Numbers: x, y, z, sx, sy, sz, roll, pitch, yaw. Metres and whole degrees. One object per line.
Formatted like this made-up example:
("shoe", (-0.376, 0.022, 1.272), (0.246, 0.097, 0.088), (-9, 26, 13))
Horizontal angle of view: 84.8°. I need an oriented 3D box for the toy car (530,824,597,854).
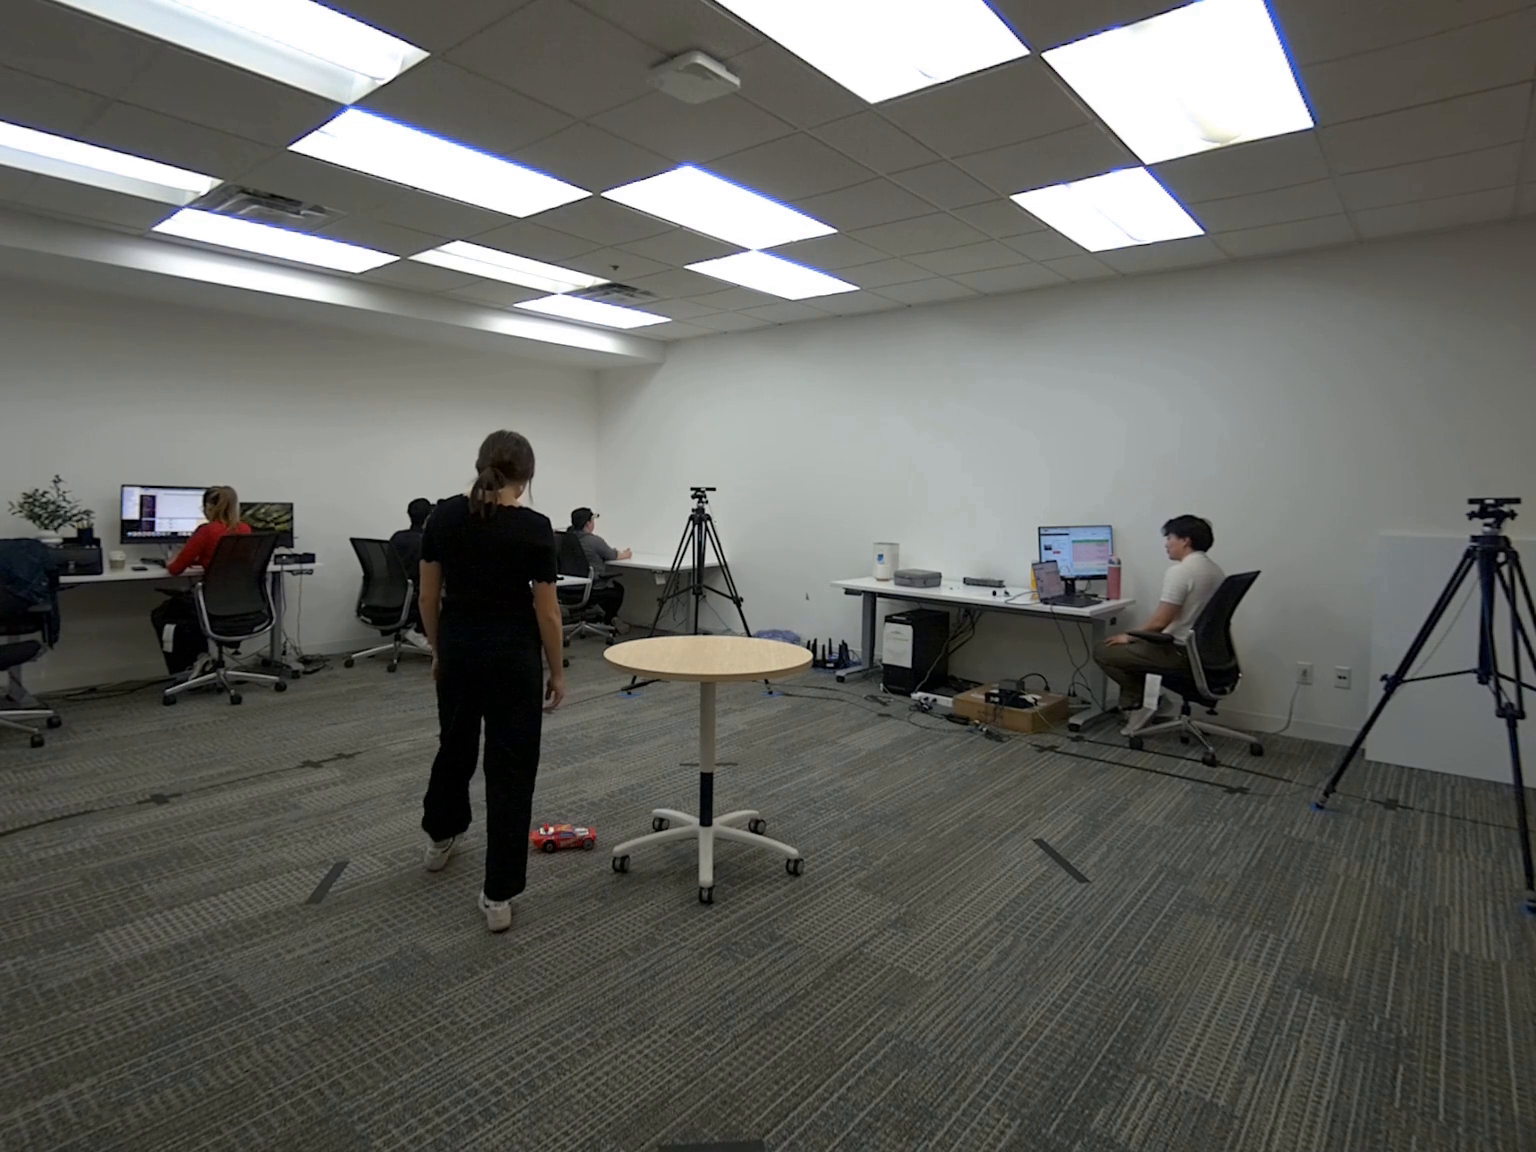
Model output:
("toy car", (-0.806, 1.007, 3.277), (0.250, 0.083, 0.133), (12, 1, -15))
